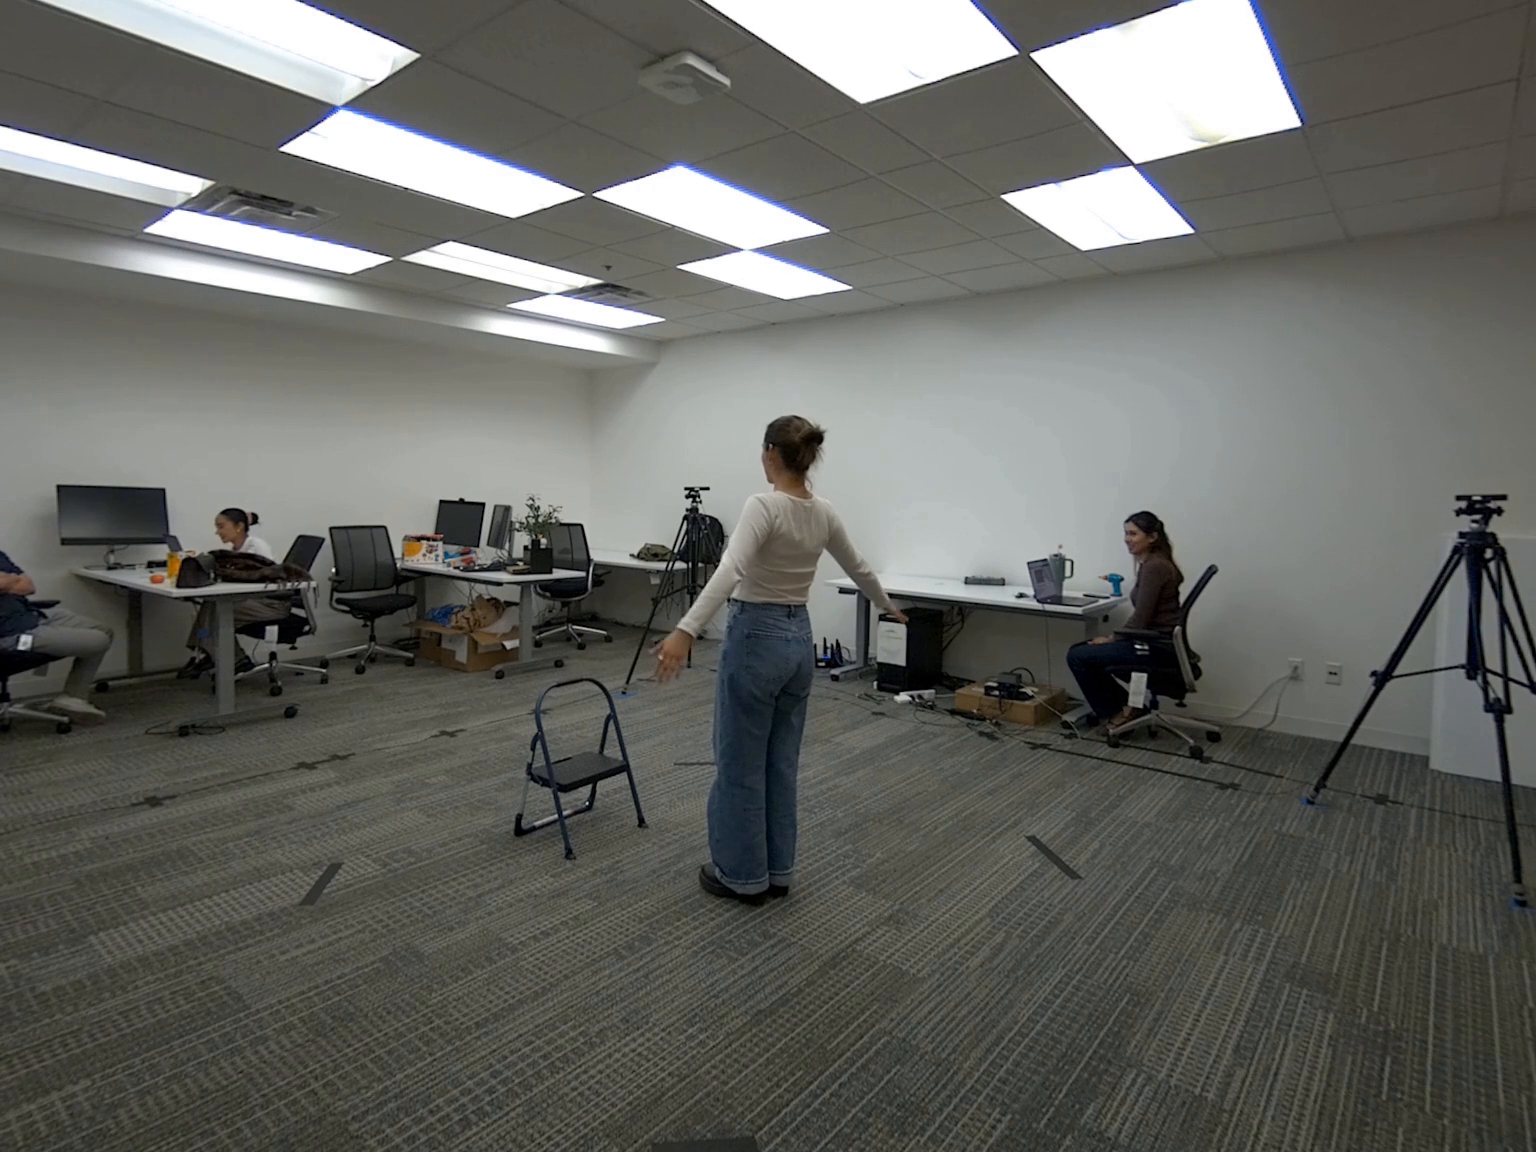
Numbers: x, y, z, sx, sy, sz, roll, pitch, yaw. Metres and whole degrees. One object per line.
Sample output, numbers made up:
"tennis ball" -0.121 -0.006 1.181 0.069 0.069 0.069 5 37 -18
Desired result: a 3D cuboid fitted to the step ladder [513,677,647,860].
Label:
"step ladder" -0.760 0.726 3.420 0.360 0.605 0.418 3 3 36
